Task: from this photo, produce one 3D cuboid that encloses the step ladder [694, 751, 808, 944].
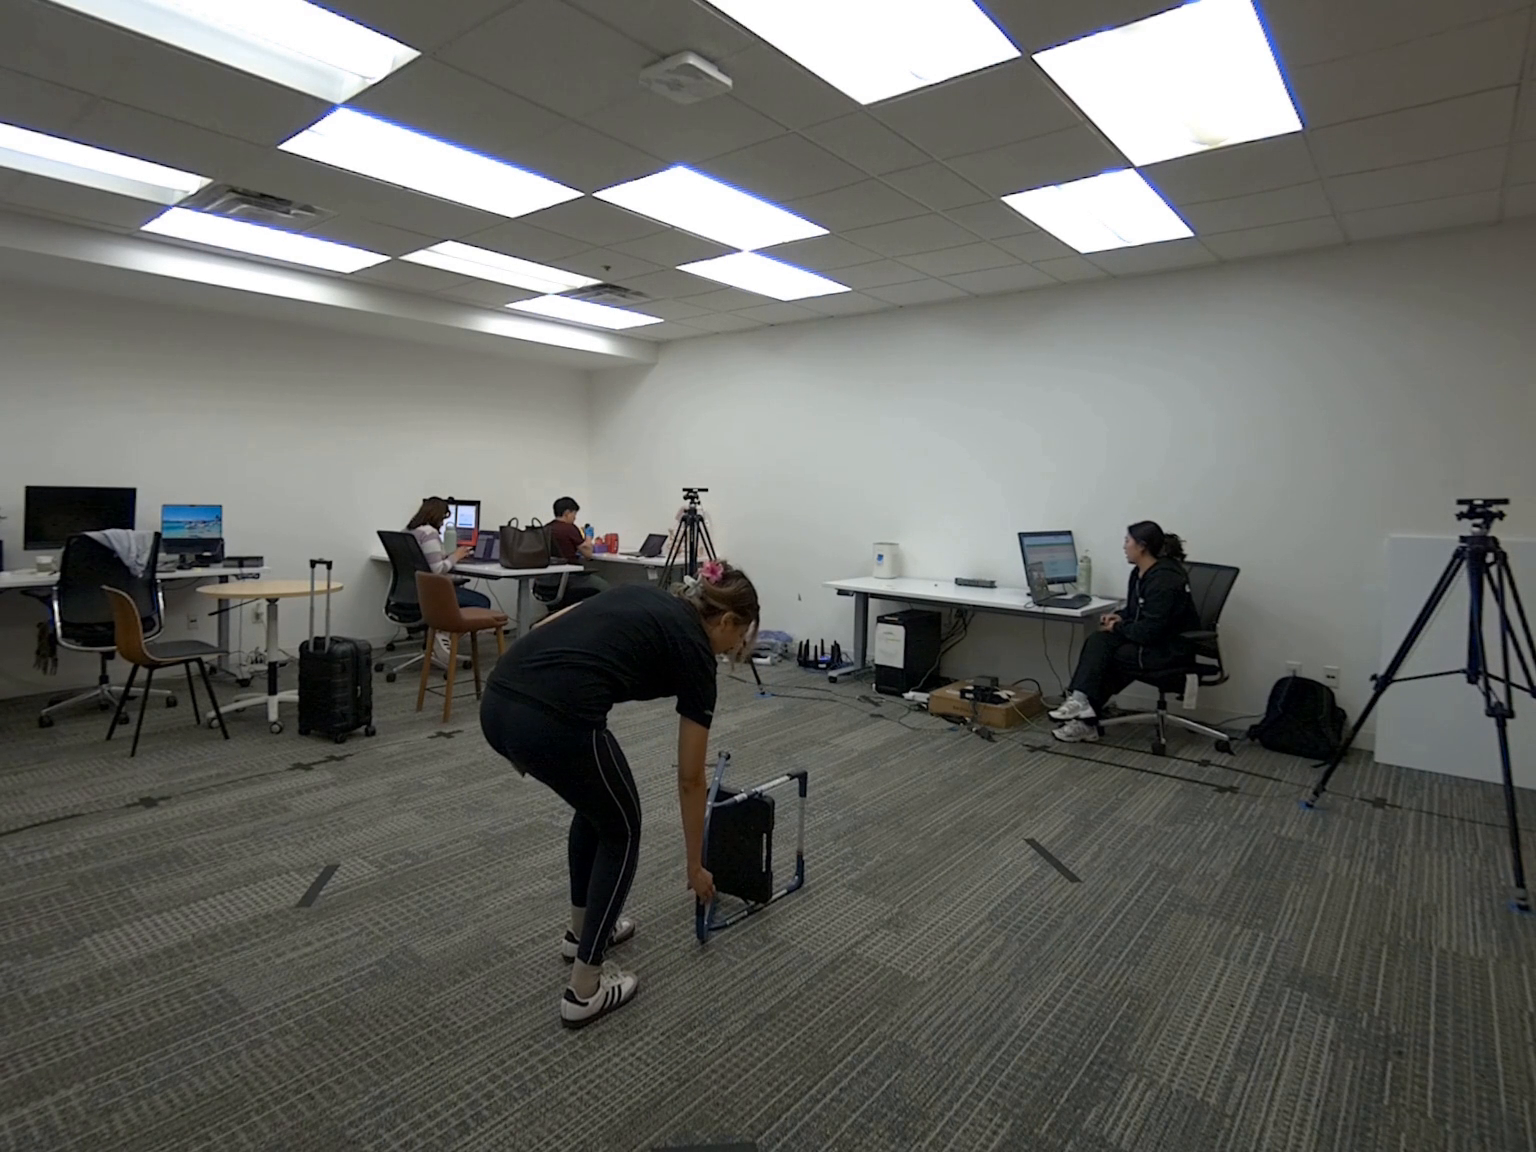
[{"bbox_3d":[-0.148,0.898,2.795,0.358,0.429,0.593,3,6,25],"label":"step ladder"}]
